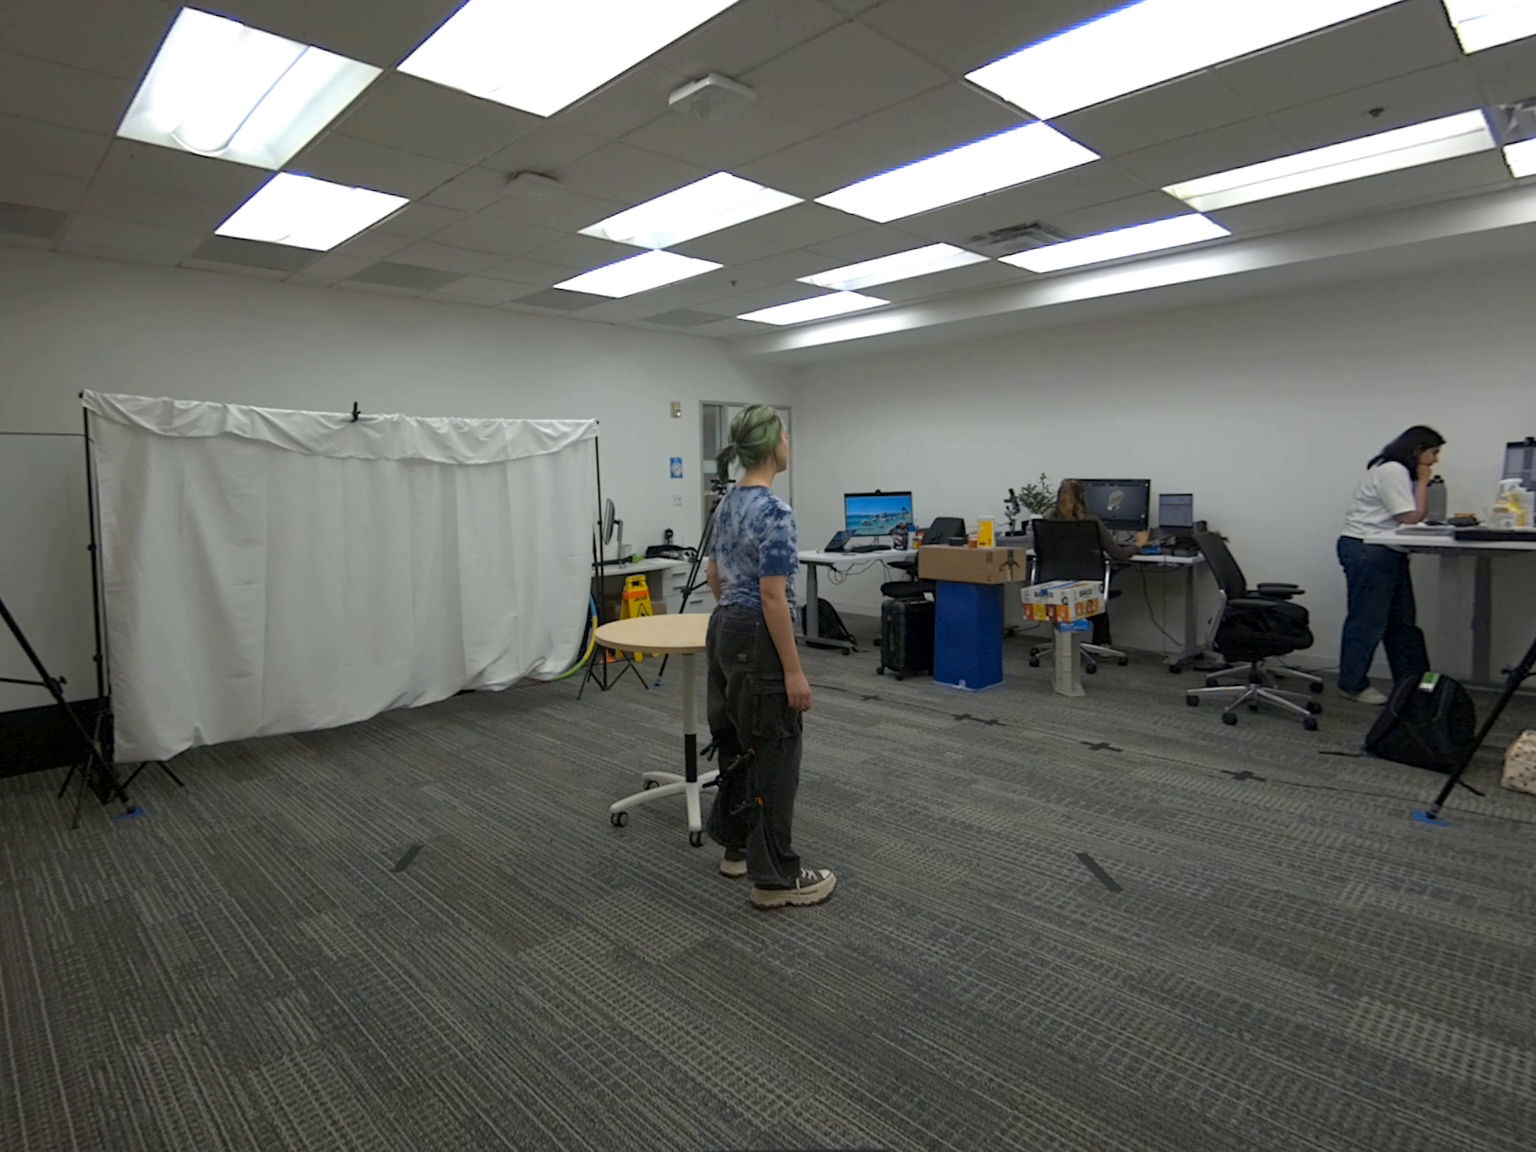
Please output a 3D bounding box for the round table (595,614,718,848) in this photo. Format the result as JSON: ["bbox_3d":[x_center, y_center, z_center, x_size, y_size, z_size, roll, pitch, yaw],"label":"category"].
[{"bbox_3d":[-0.322,0.611,3.564,0.763,0.791,0.768,-2,5,-2],"label":"round table"}]
